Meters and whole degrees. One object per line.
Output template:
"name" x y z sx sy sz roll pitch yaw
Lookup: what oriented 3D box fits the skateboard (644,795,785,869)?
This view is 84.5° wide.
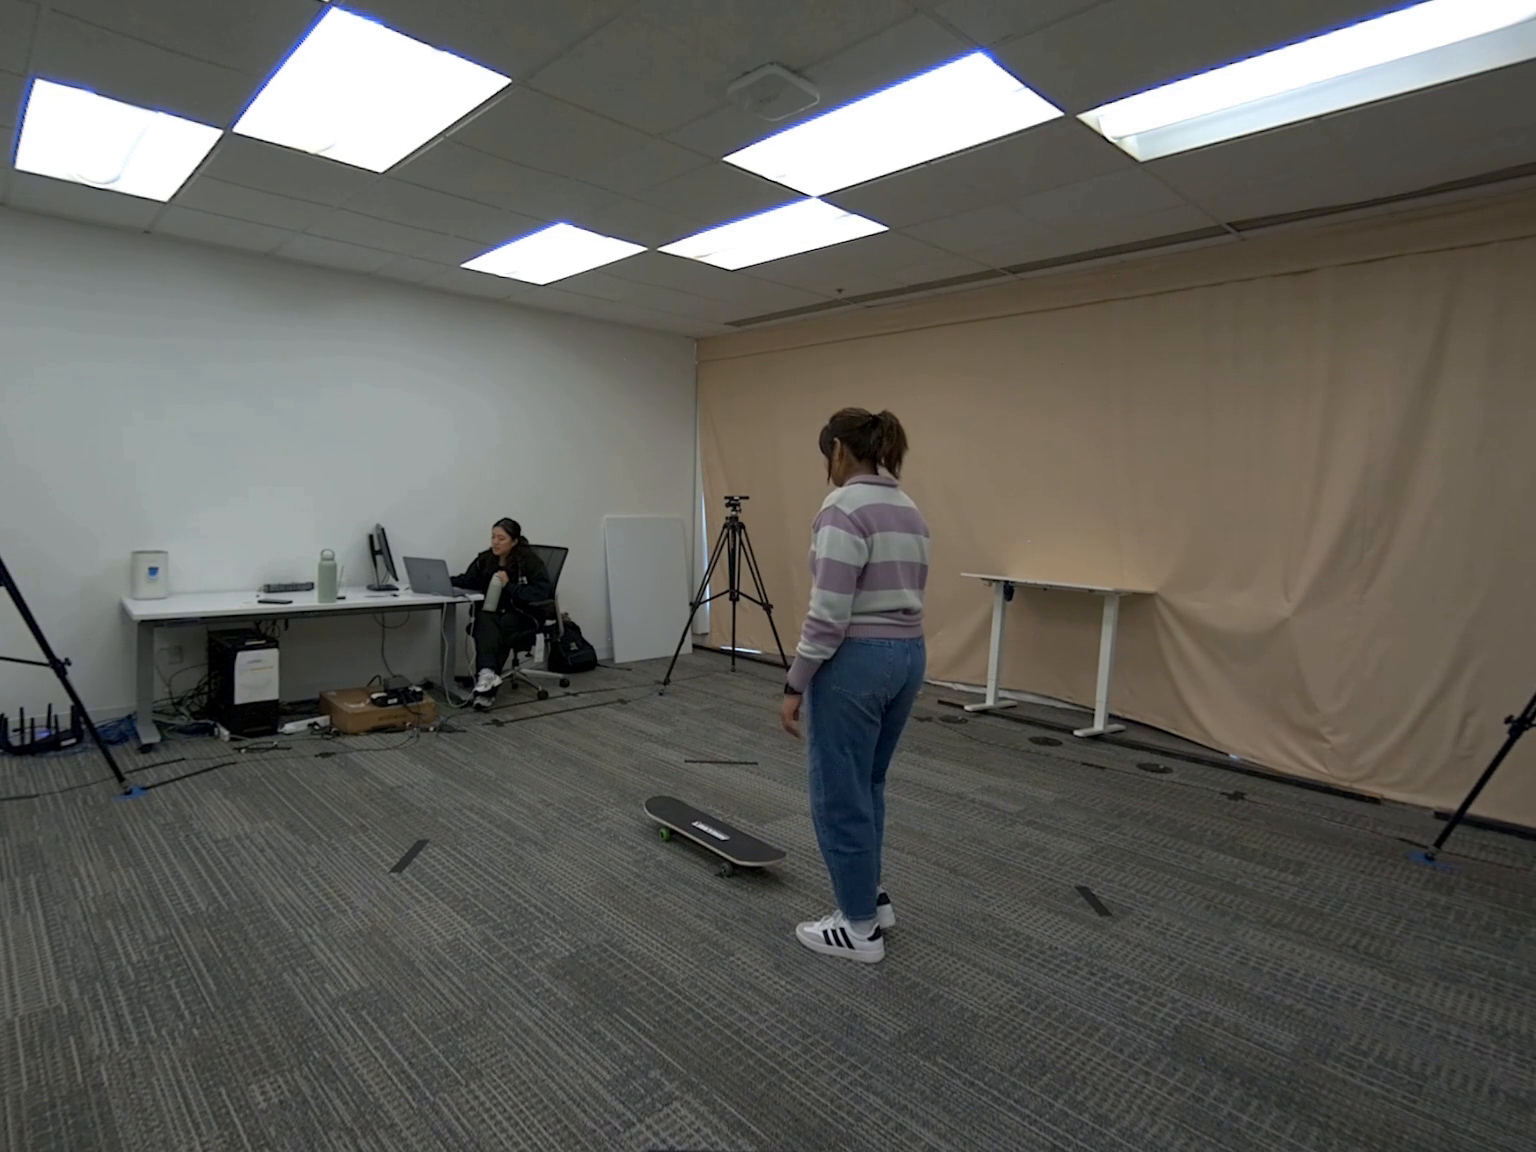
"skateboard" -0.239 1.028 3.299 0.189 0.110 0.806 -2 6 -41
